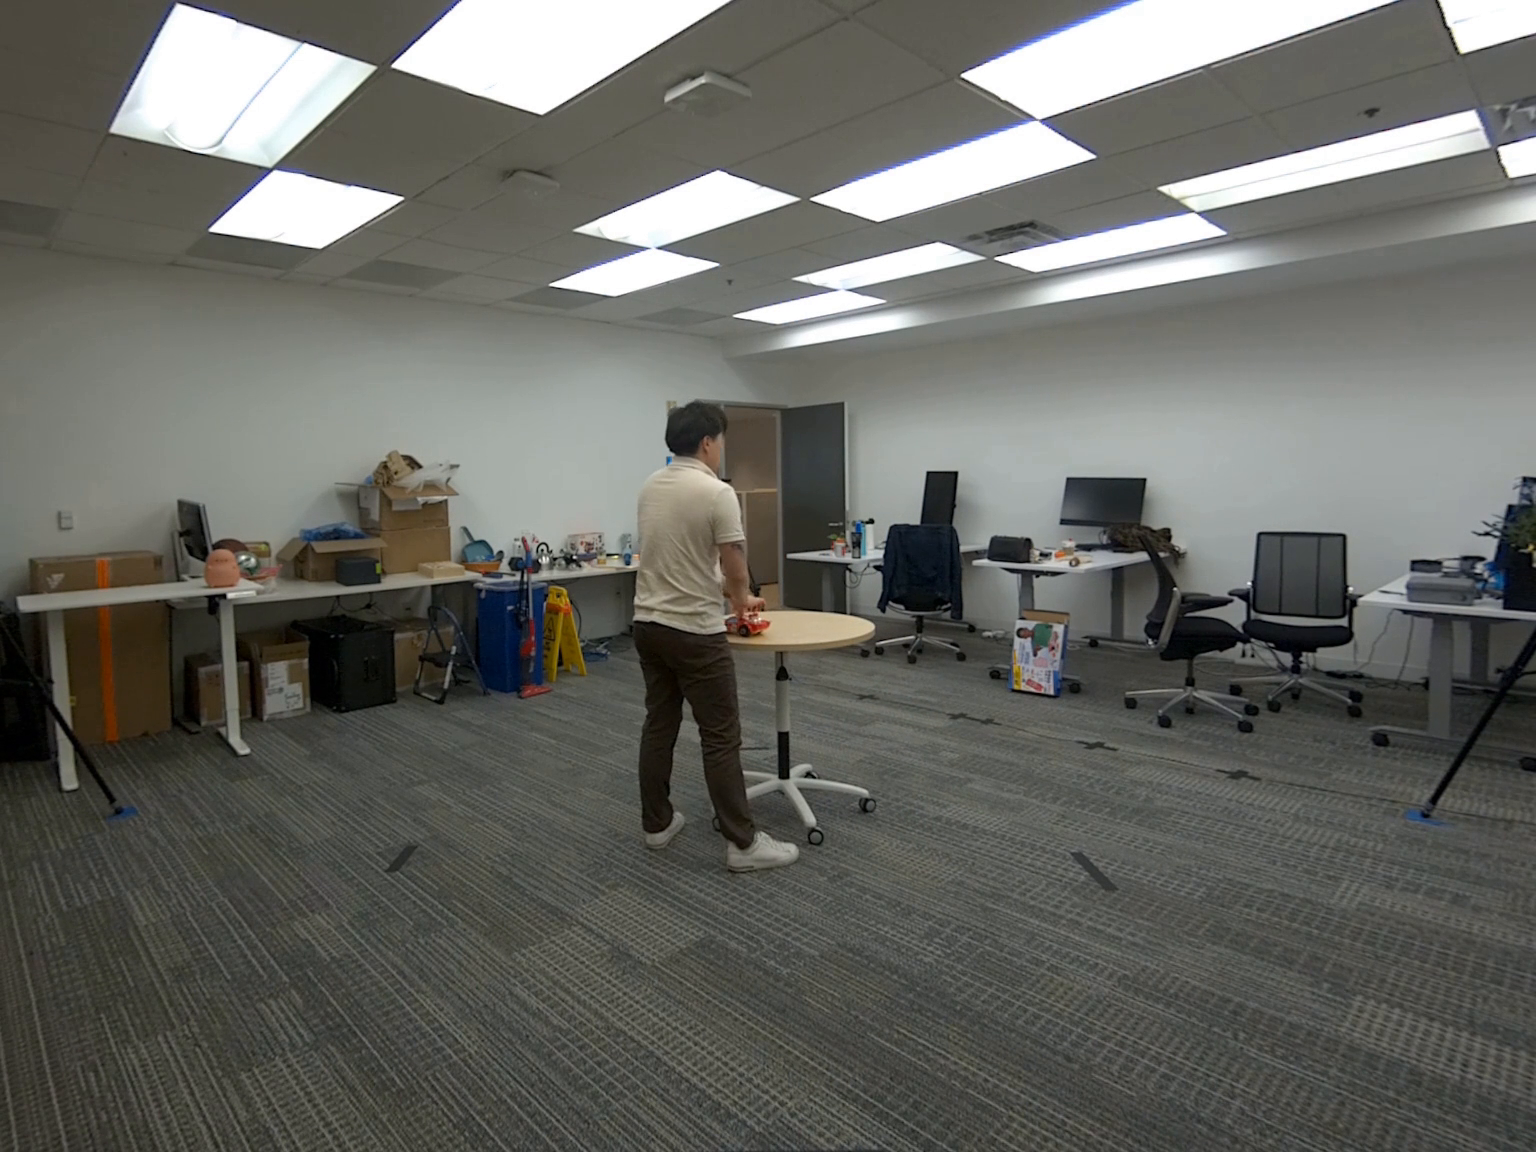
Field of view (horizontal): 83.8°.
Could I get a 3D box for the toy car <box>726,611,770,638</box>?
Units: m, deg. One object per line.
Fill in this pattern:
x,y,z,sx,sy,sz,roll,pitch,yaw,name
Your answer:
-0.100,0.202,3.393,0.260,0.083,0.127,-9,0,36,toy car
